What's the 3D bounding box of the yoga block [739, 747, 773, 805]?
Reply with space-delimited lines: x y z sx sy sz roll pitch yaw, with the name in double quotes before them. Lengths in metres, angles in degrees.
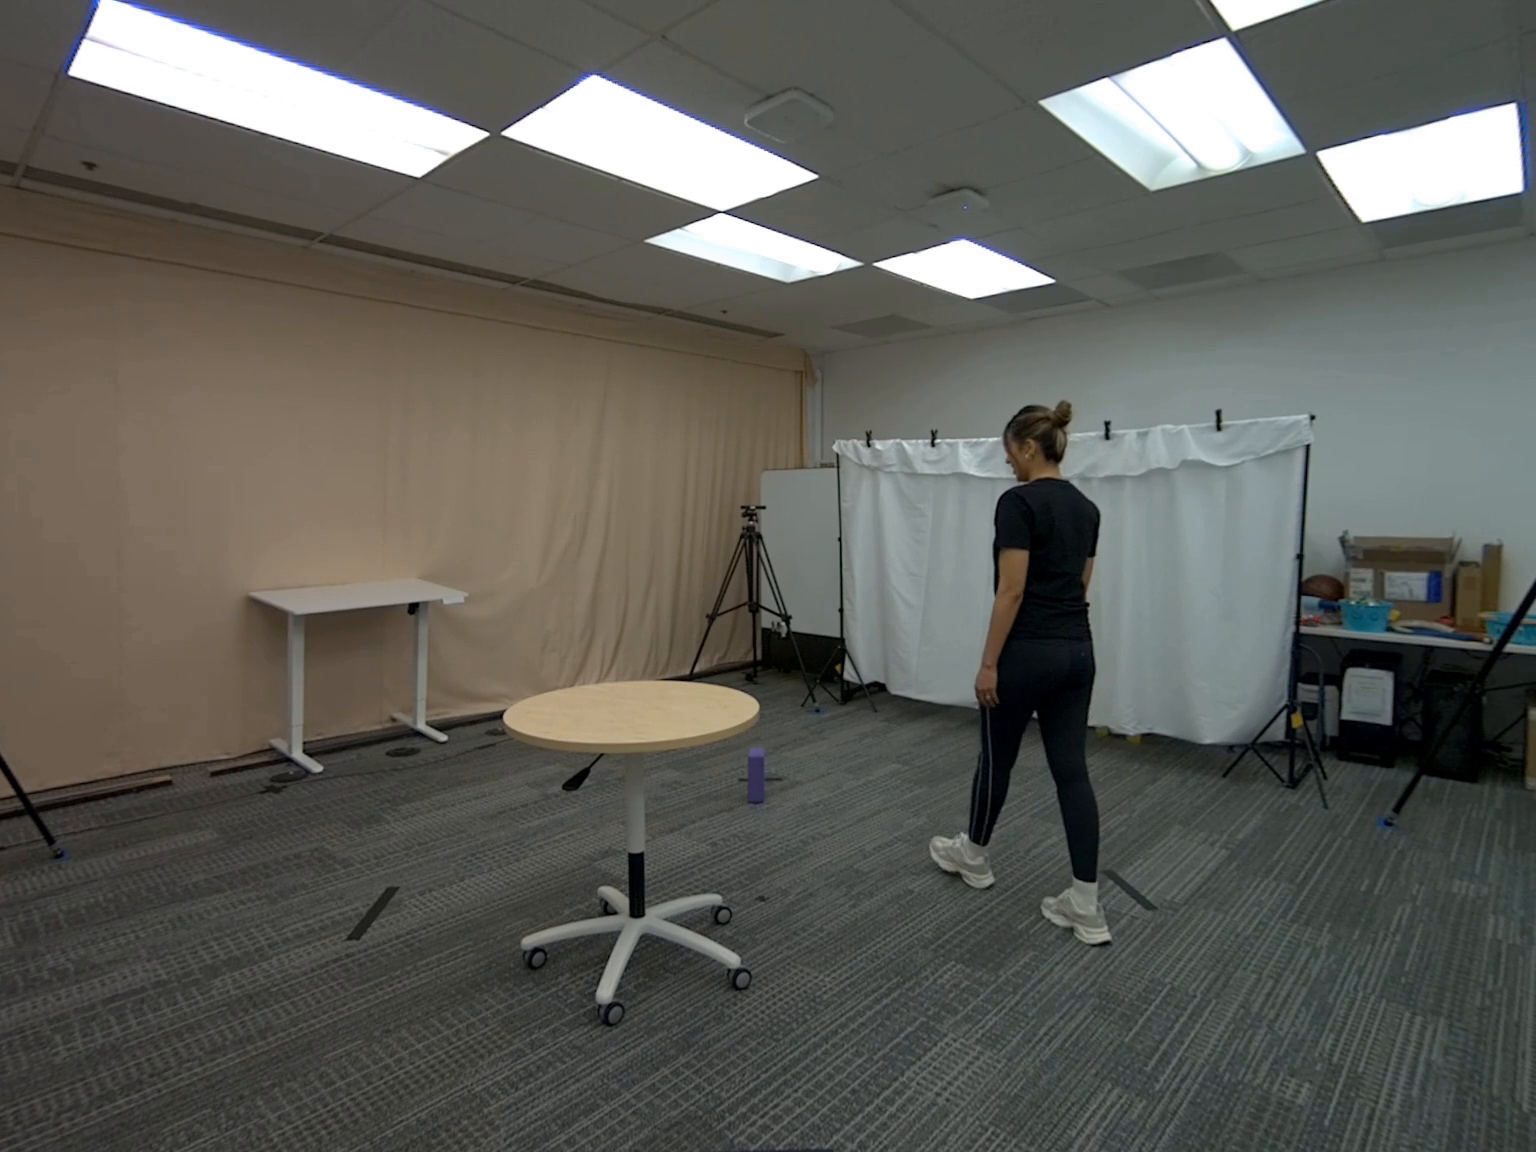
"yoga block" -0.057 0.948 4.016 0.077 0.229 0.148 -1 0 2
